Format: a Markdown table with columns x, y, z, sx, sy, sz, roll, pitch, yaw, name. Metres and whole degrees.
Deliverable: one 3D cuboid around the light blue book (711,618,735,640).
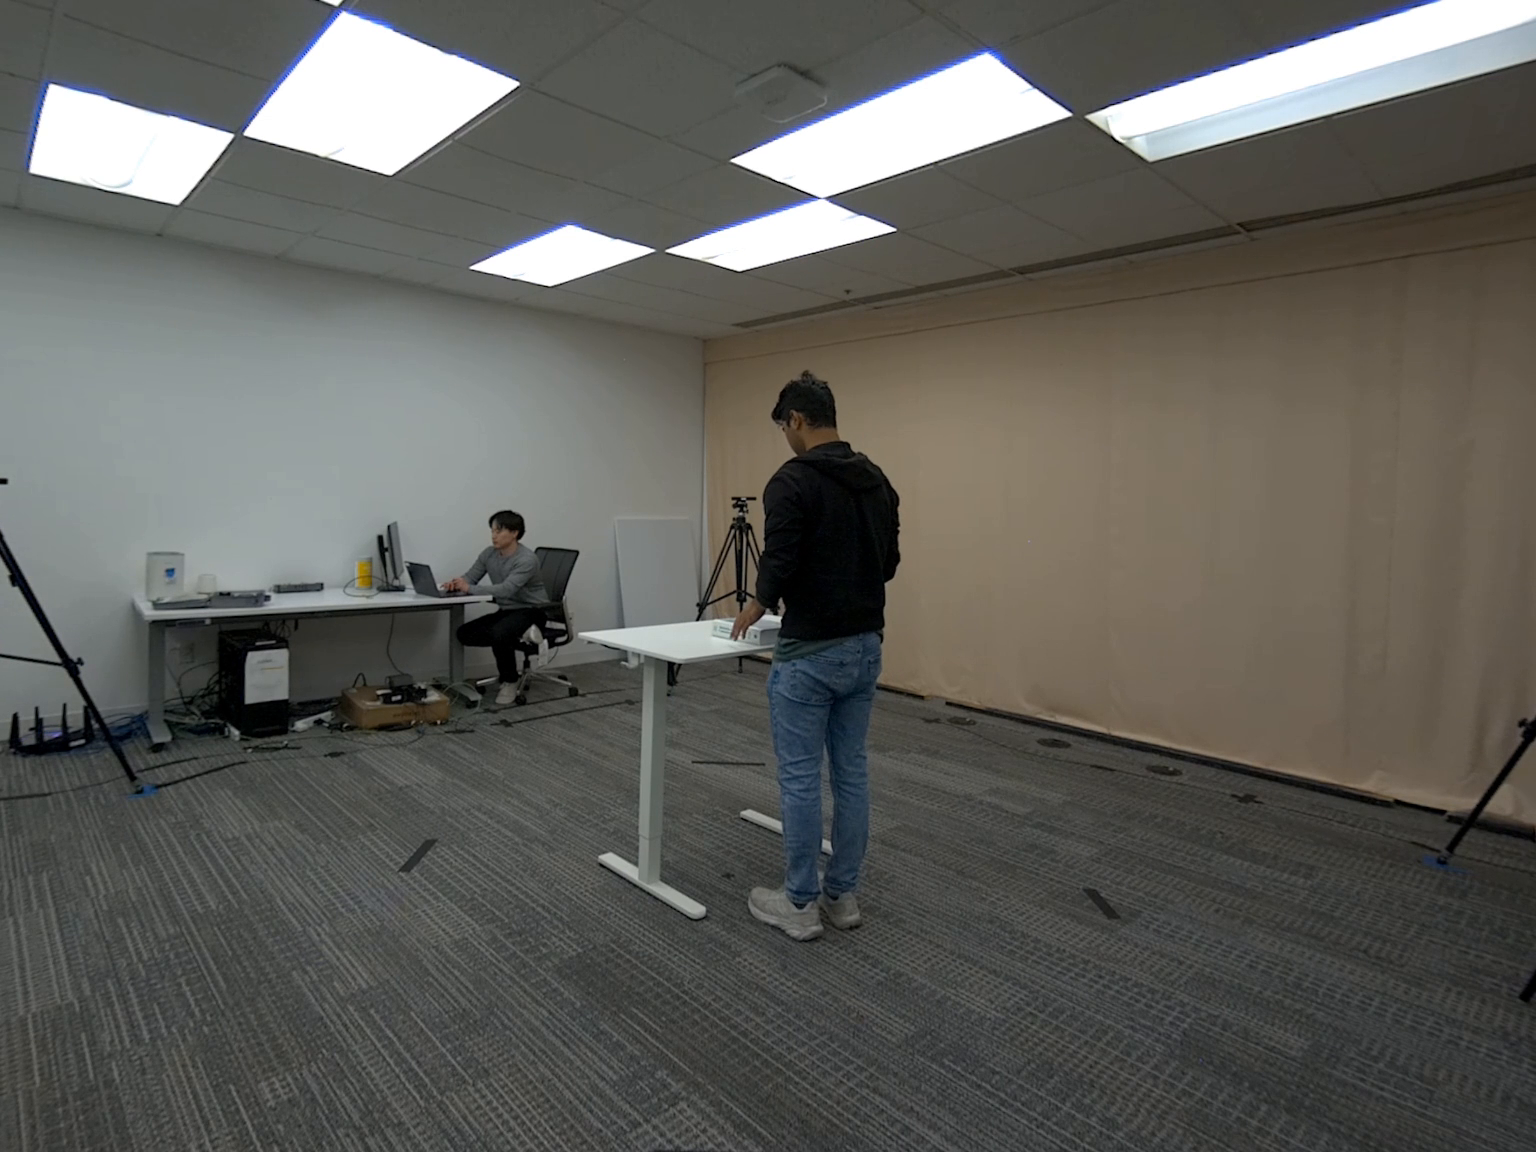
| x | y | z | sx | sy | sz | roll | pitch | yaw | name |
| --- | --- | --- | --- | --- | --- | --- | --- | --- | --- |
| -0.050 | 0.203 | 3.083 | 0.187 | 0.059 | 0.268 | -3 | 8 | -43 | light blue book |
